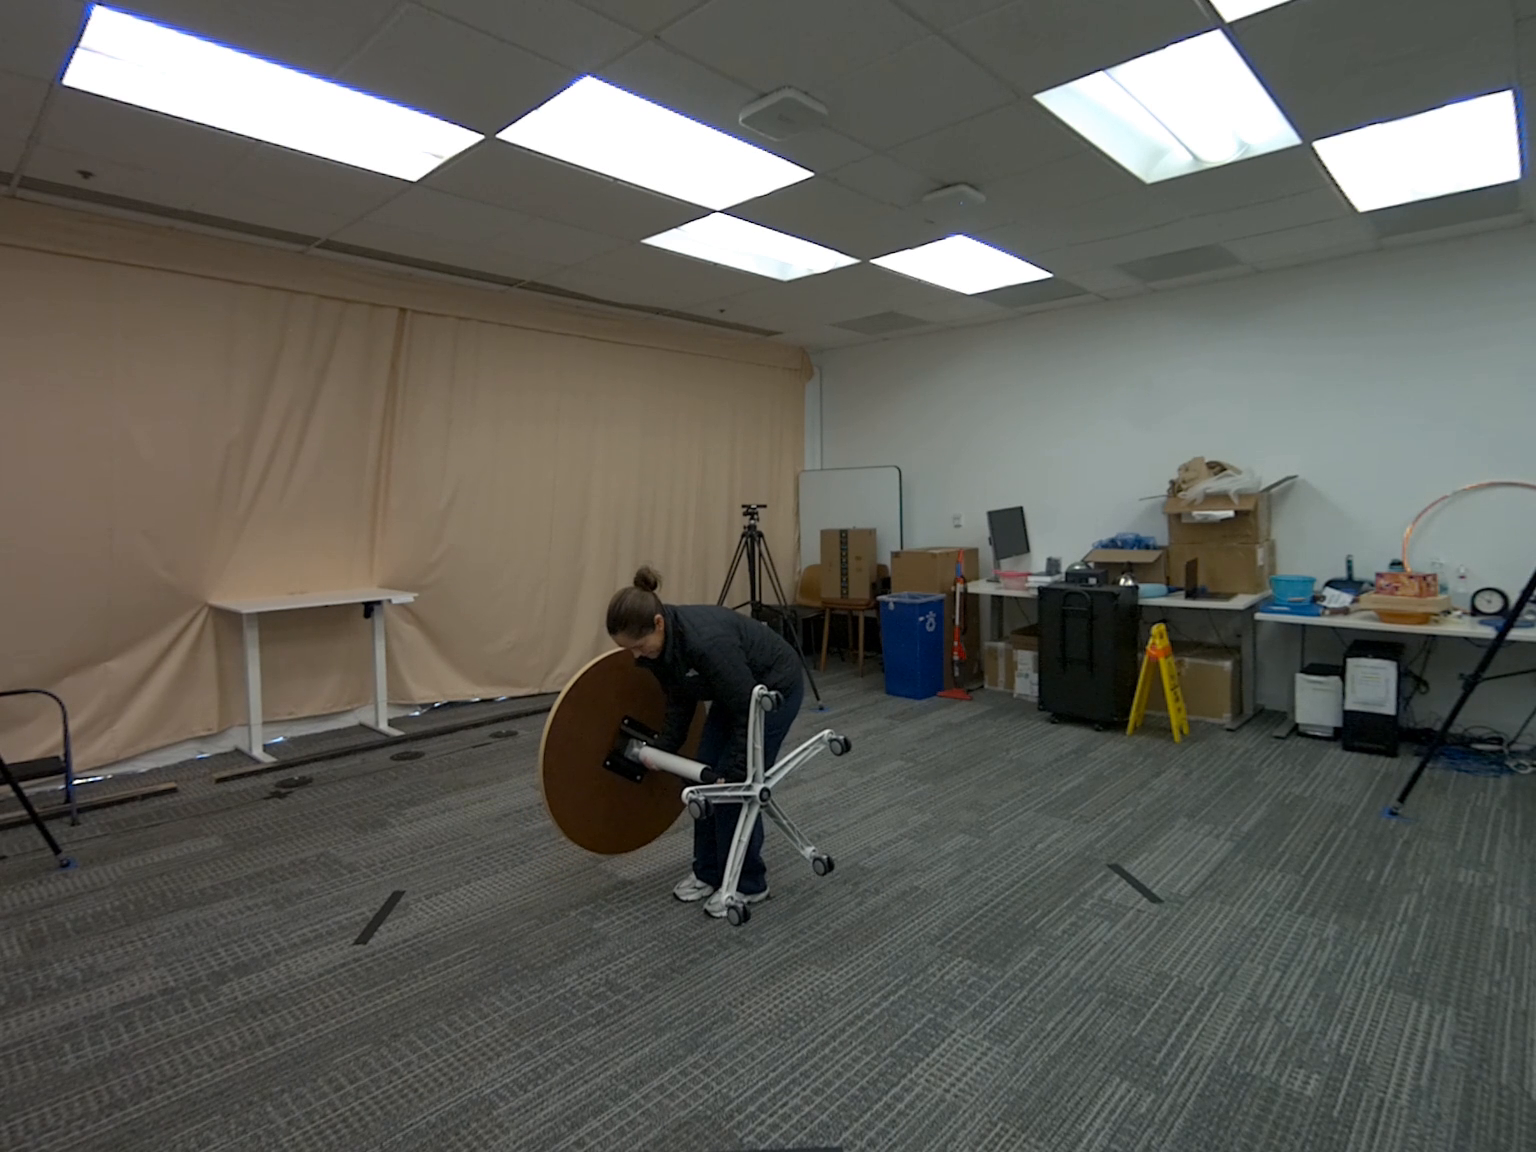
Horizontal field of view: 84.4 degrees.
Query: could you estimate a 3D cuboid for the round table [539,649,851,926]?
[{"bbox_3d":[-0.214,0.675,2.865,0.813,0.783,0.761,4,6,45],"label":"round table"}]
